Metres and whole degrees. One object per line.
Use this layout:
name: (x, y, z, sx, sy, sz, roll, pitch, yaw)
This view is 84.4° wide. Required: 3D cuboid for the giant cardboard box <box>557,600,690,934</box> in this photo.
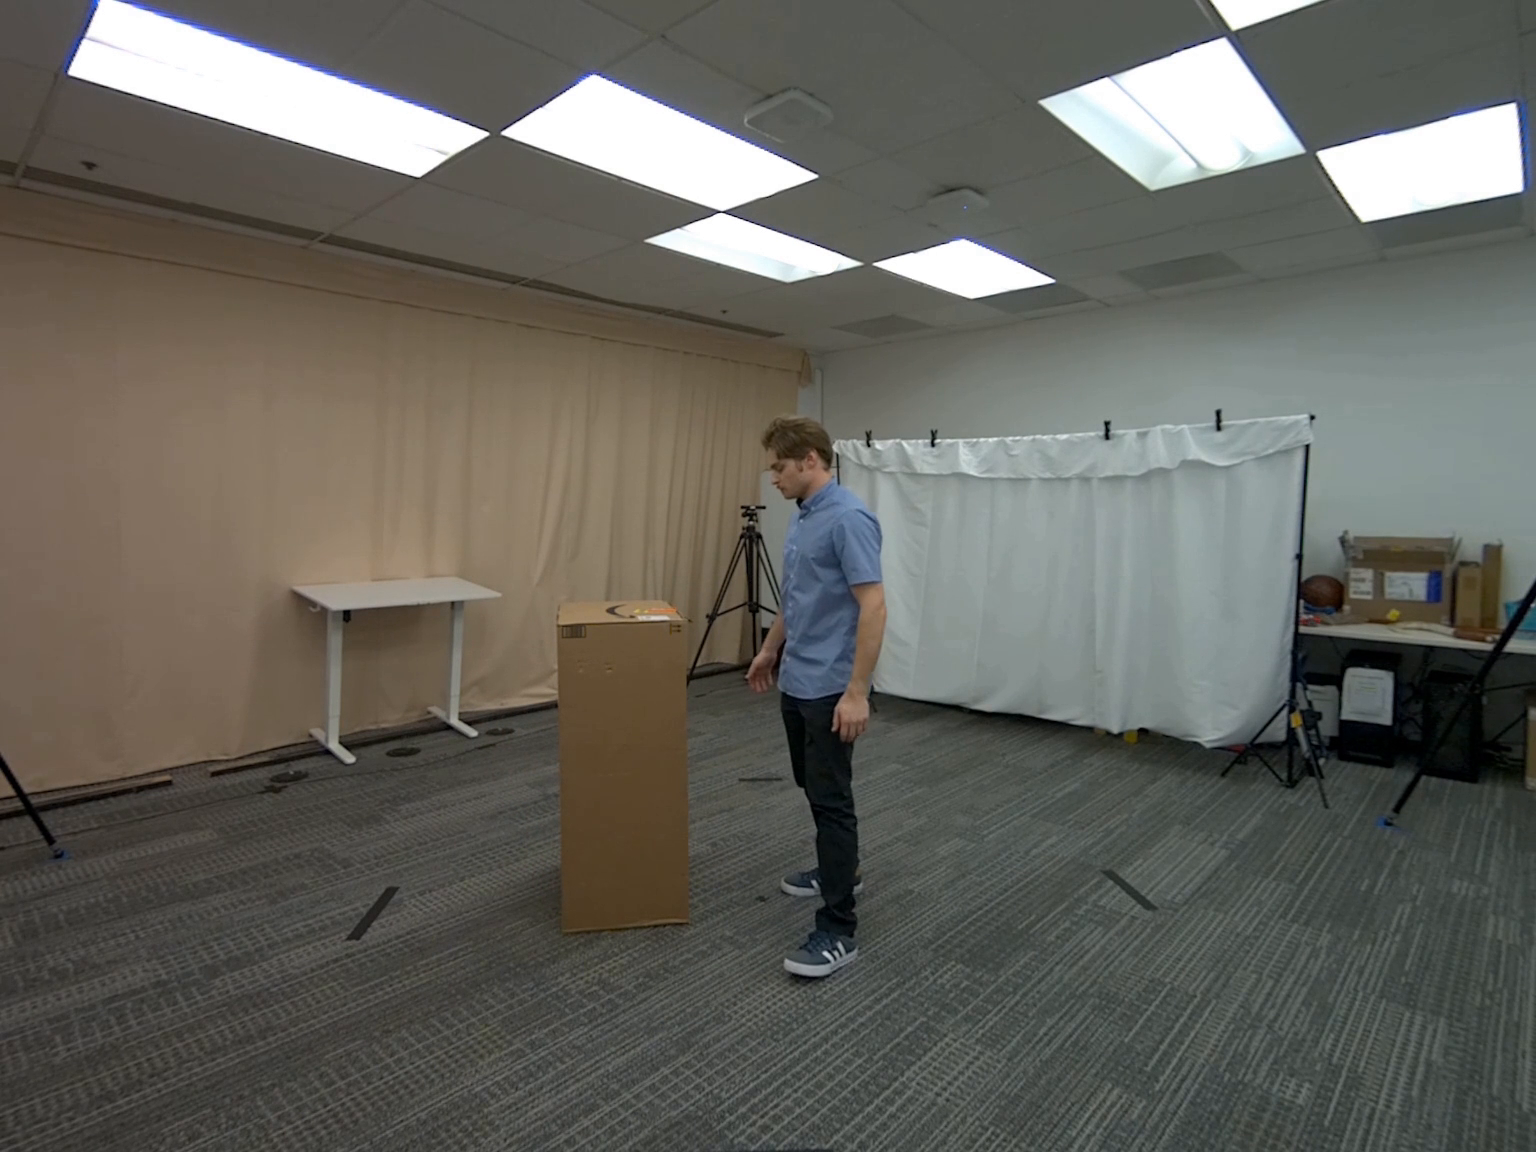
giant cardboard box: (-0.536, 0.633, 3.039, 0.443, 1.025, 0.590, -1, 3, -10)
